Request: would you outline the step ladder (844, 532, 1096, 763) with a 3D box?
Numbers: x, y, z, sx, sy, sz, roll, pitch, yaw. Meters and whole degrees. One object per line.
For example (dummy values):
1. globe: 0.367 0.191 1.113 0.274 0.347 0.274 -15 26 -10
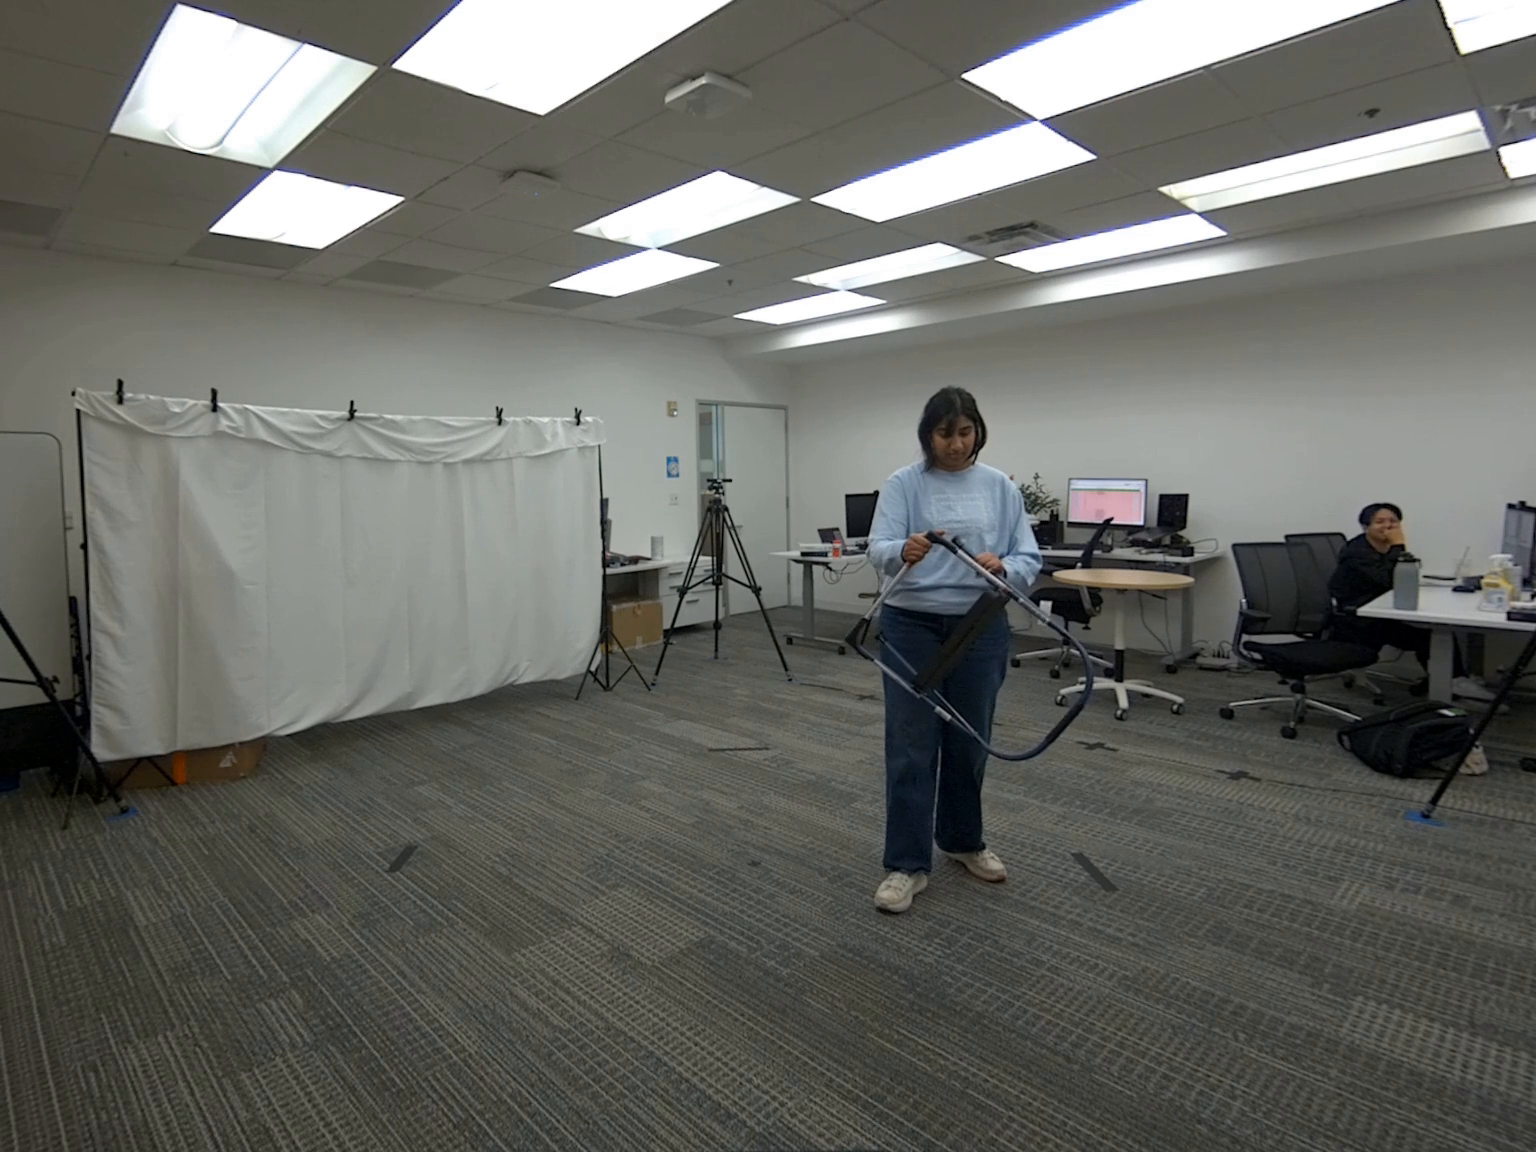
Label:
1. step ladder: 0.615 0.221 2.496 0.625 0.429 0.340 40 15 24
